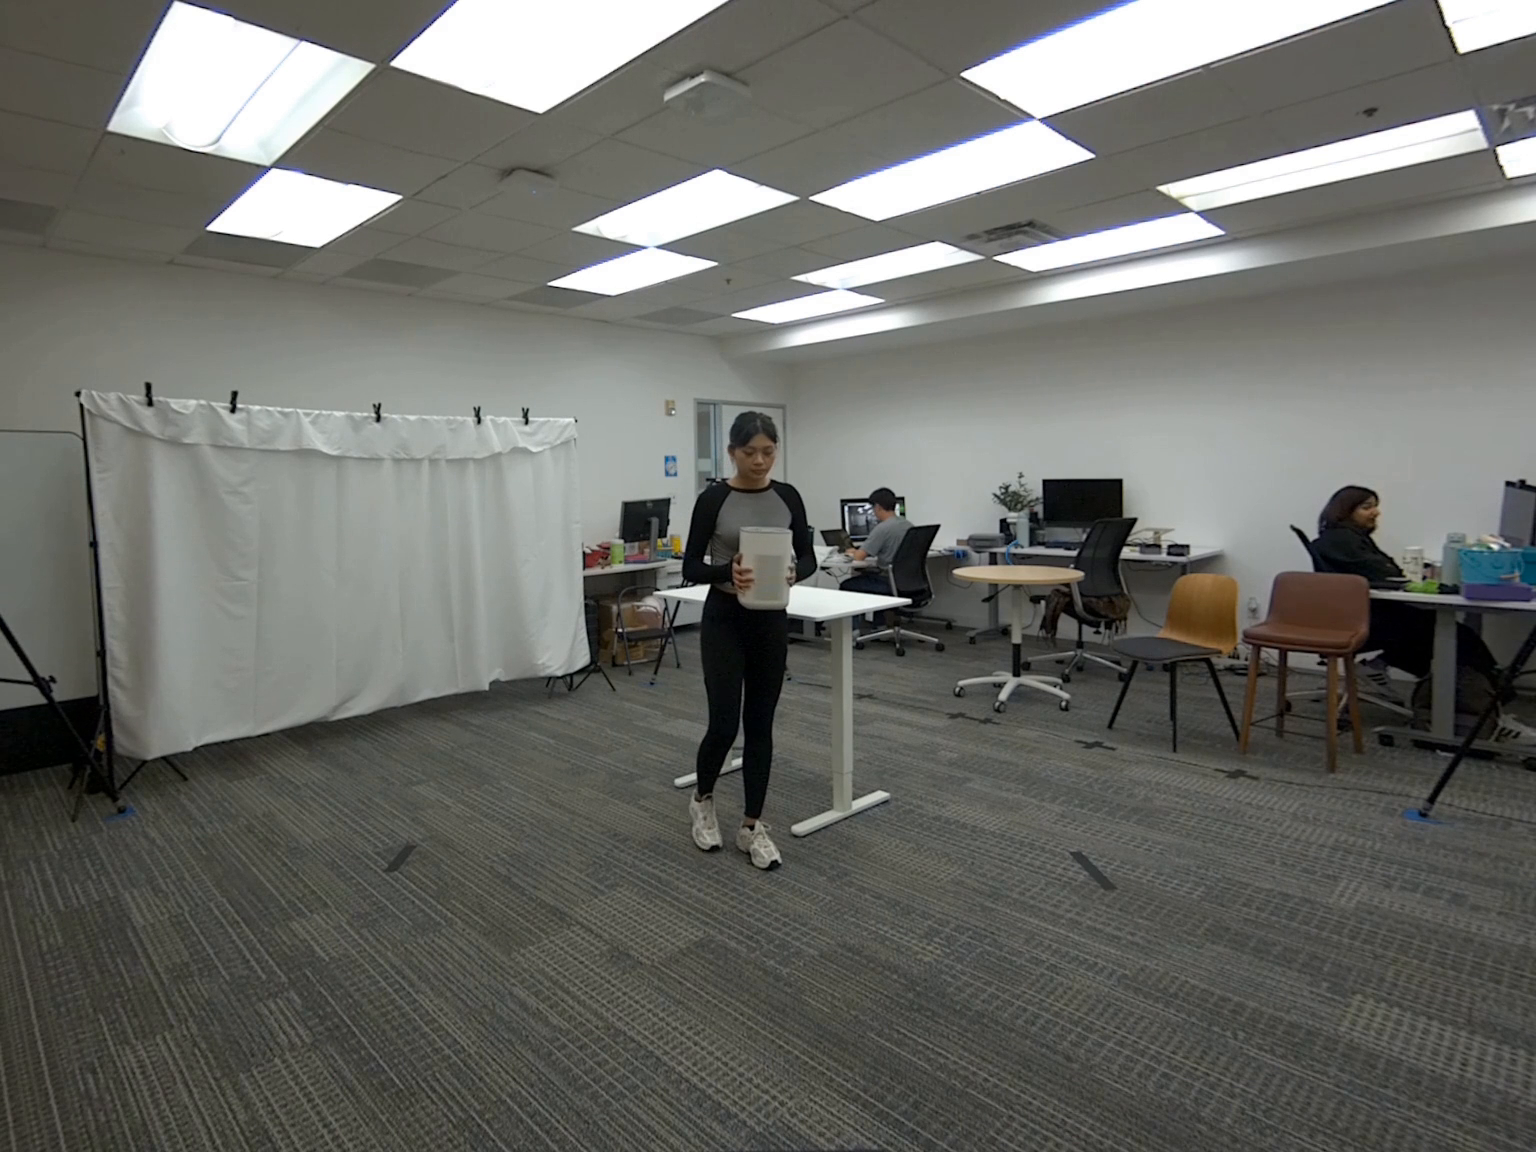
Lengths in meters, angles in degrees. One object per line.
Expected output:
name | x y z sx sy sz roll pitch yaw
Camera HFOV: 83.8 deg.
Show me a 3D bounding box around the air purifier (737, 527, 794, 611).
air purifier | -0.027 -0.027 2.923 0.173 0.265 0.170 2 3 5
